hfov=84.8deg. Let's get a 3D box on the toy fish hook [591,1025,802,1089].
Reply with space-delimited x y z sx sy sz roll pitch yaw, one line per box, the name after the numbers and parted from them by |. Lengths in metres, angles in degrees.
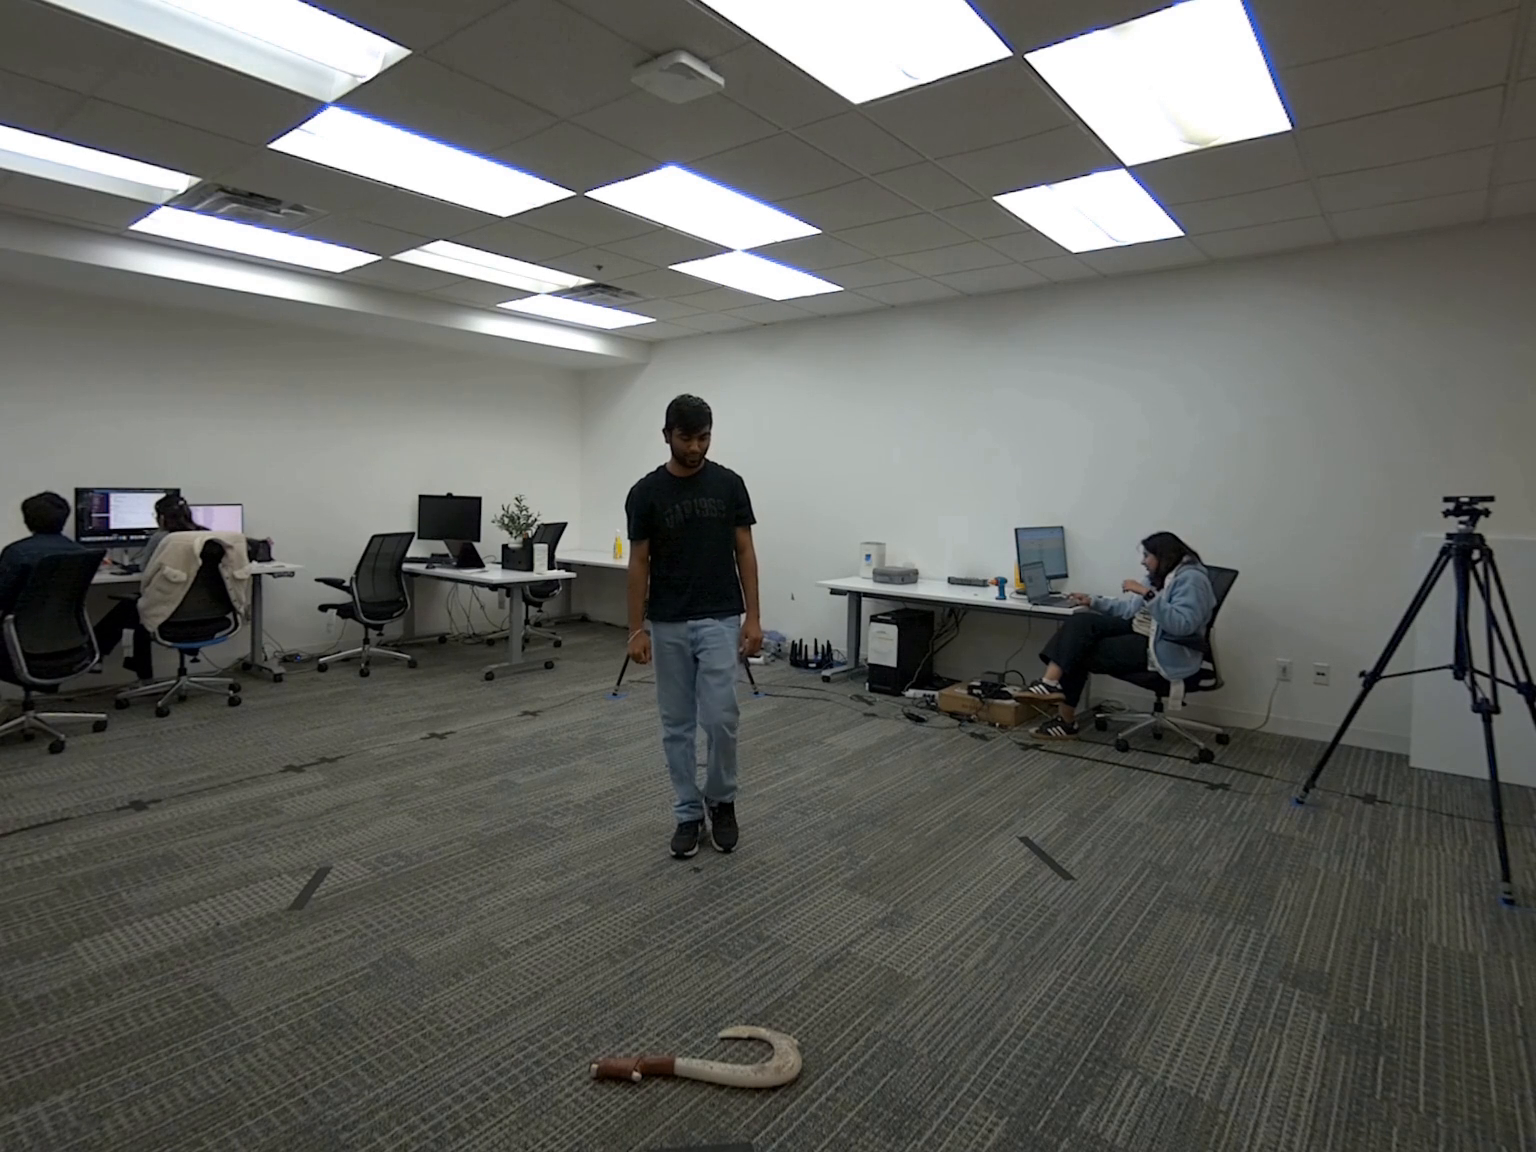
-0.178 1.156 2.066 0.505 0.048 0.225 1 -1 -3 | toy fish hook
